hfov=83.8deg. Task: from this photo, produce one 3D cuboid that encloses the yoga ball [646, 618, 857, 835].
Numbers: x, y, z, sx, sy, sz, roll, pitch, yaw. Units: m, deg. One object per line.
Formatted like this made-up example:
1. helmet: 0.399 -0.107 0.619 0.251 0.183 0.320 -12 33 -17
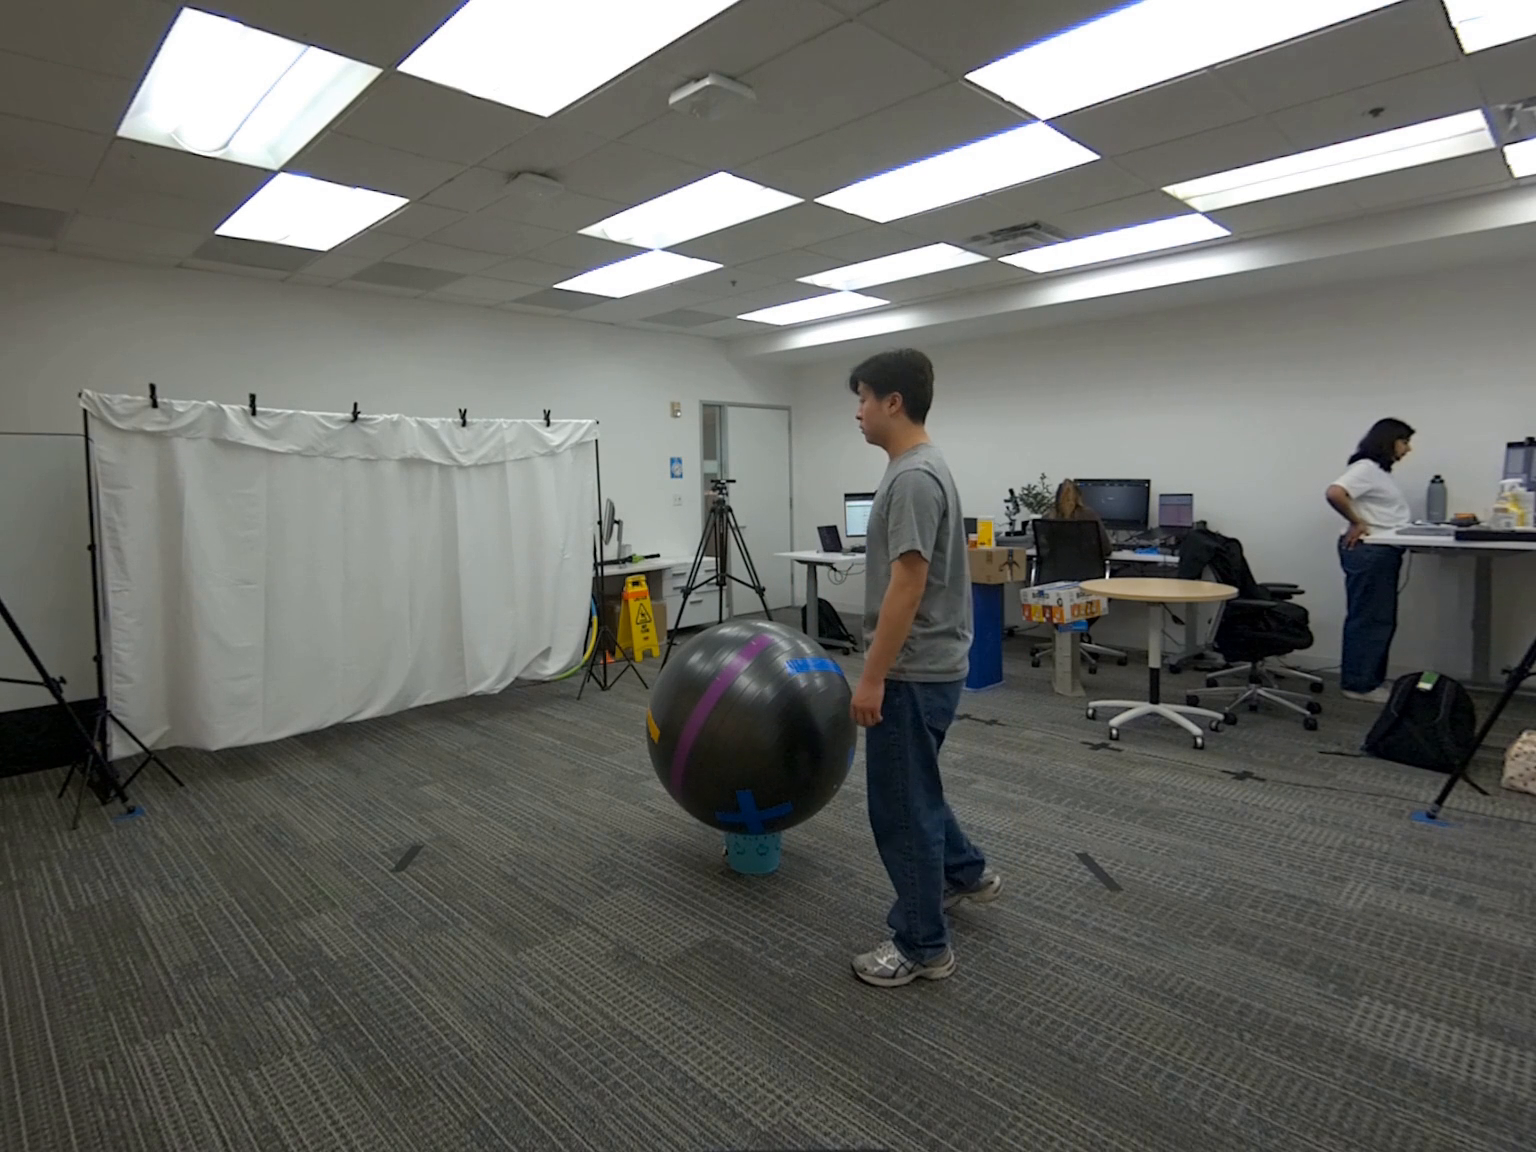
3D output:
1. yoga ball: -0.060 0.538 3.086 0.757 0.755 0.762 -1 5 -2
